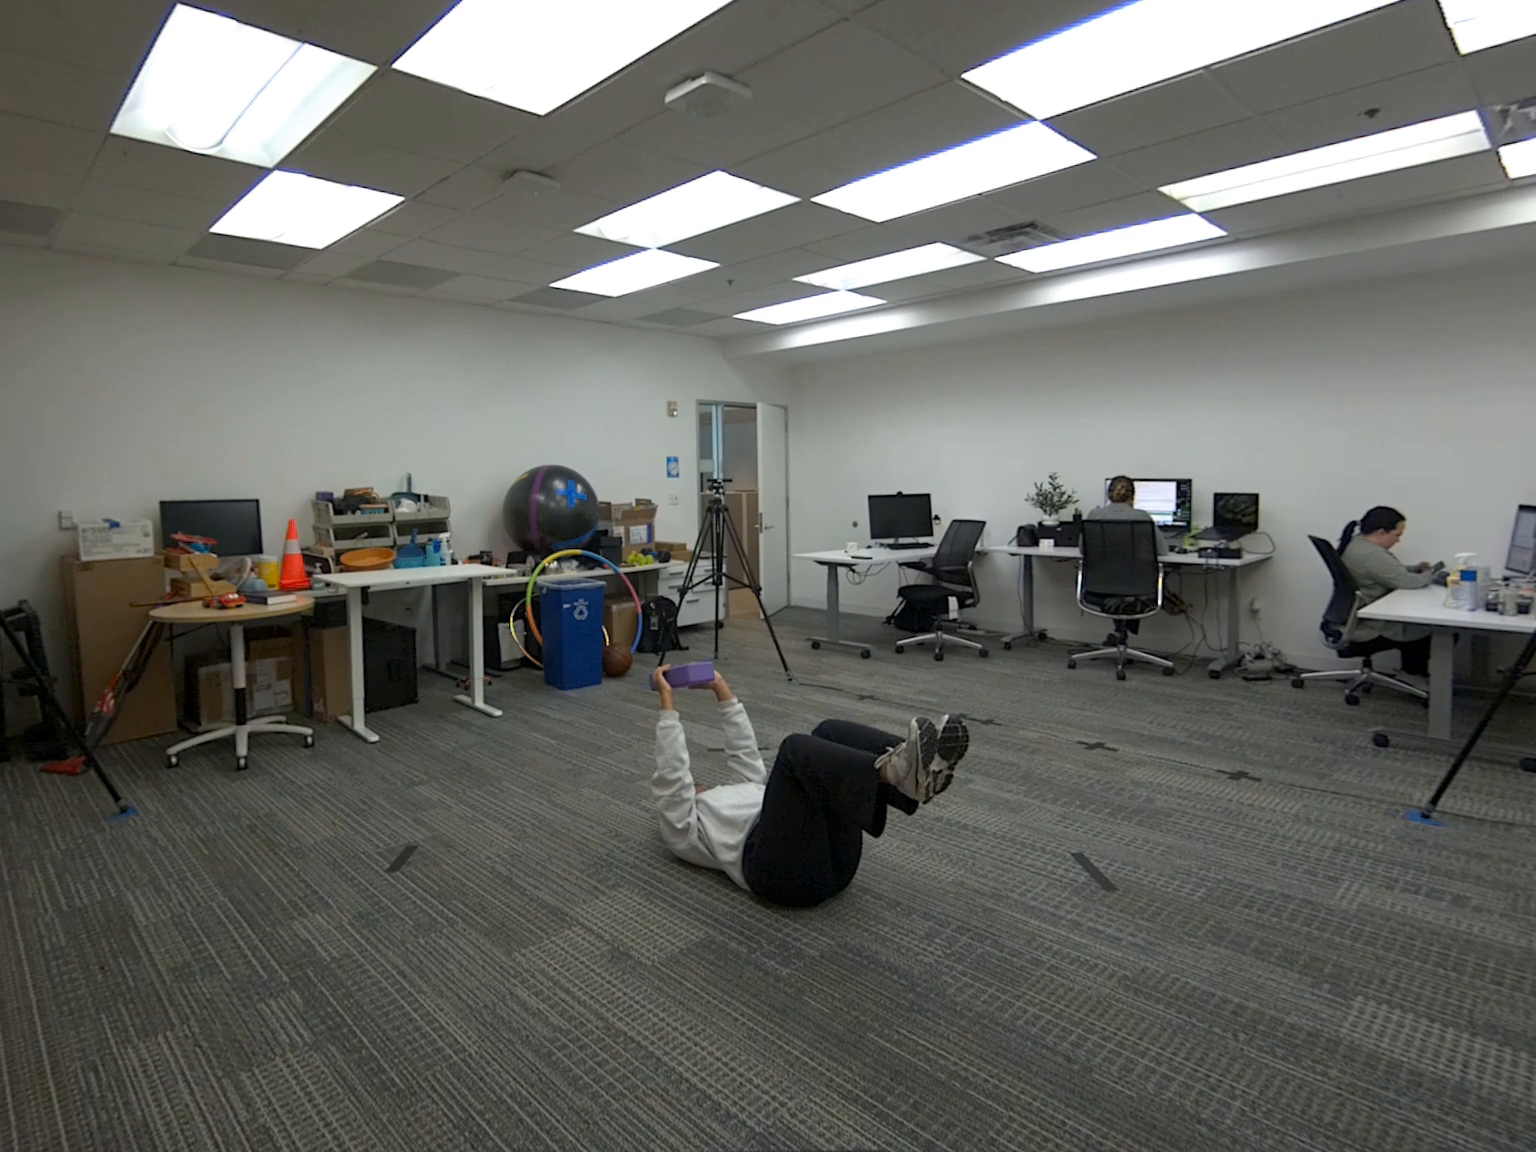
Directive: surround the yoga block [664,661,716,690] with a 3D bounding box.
[{"bbox_3d":[-0.337,0.390,3.317,0.234,0.077,0.144,-15,-11,41],"label":"yoga block"}]
